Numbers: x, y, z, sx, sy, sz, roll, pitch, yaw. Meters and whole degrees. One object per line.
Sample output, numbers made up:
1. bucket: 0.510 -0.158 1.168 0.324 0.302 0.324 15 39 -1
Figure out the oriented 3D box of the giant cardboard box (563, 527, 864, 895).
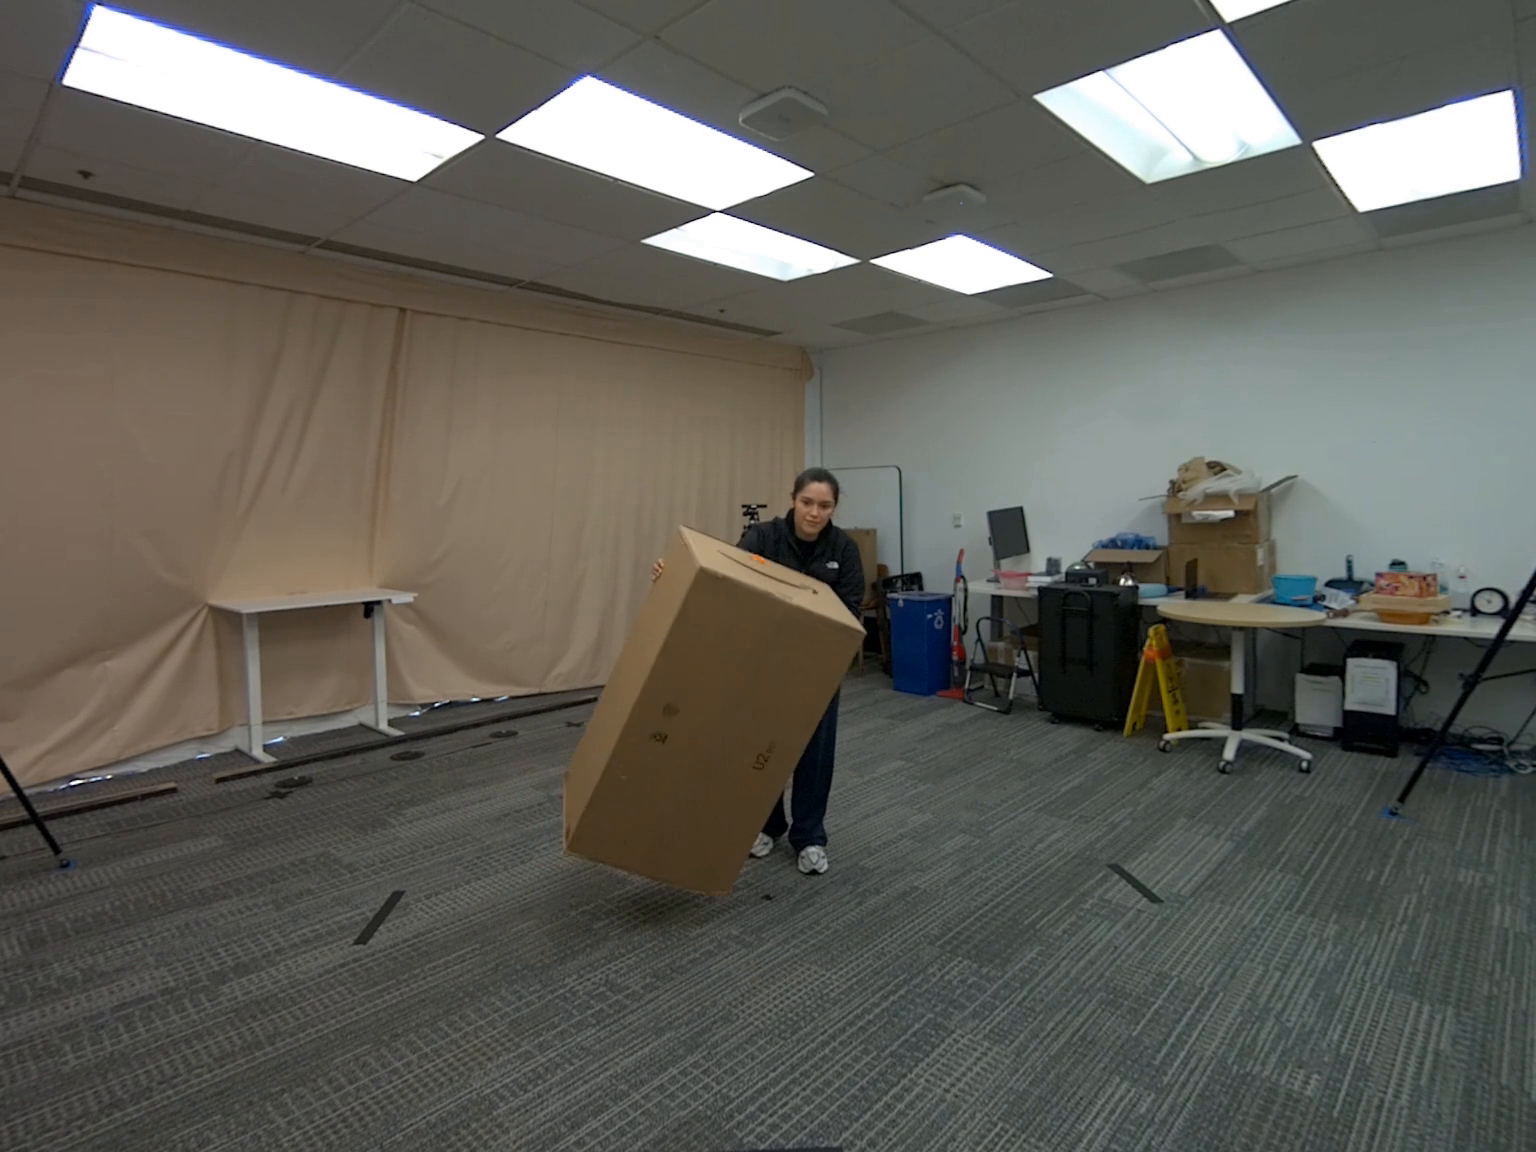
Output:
1. giant cardboard box: -0.209 0.455 2.781 0.566 1.024 0.435 22 13 -17
